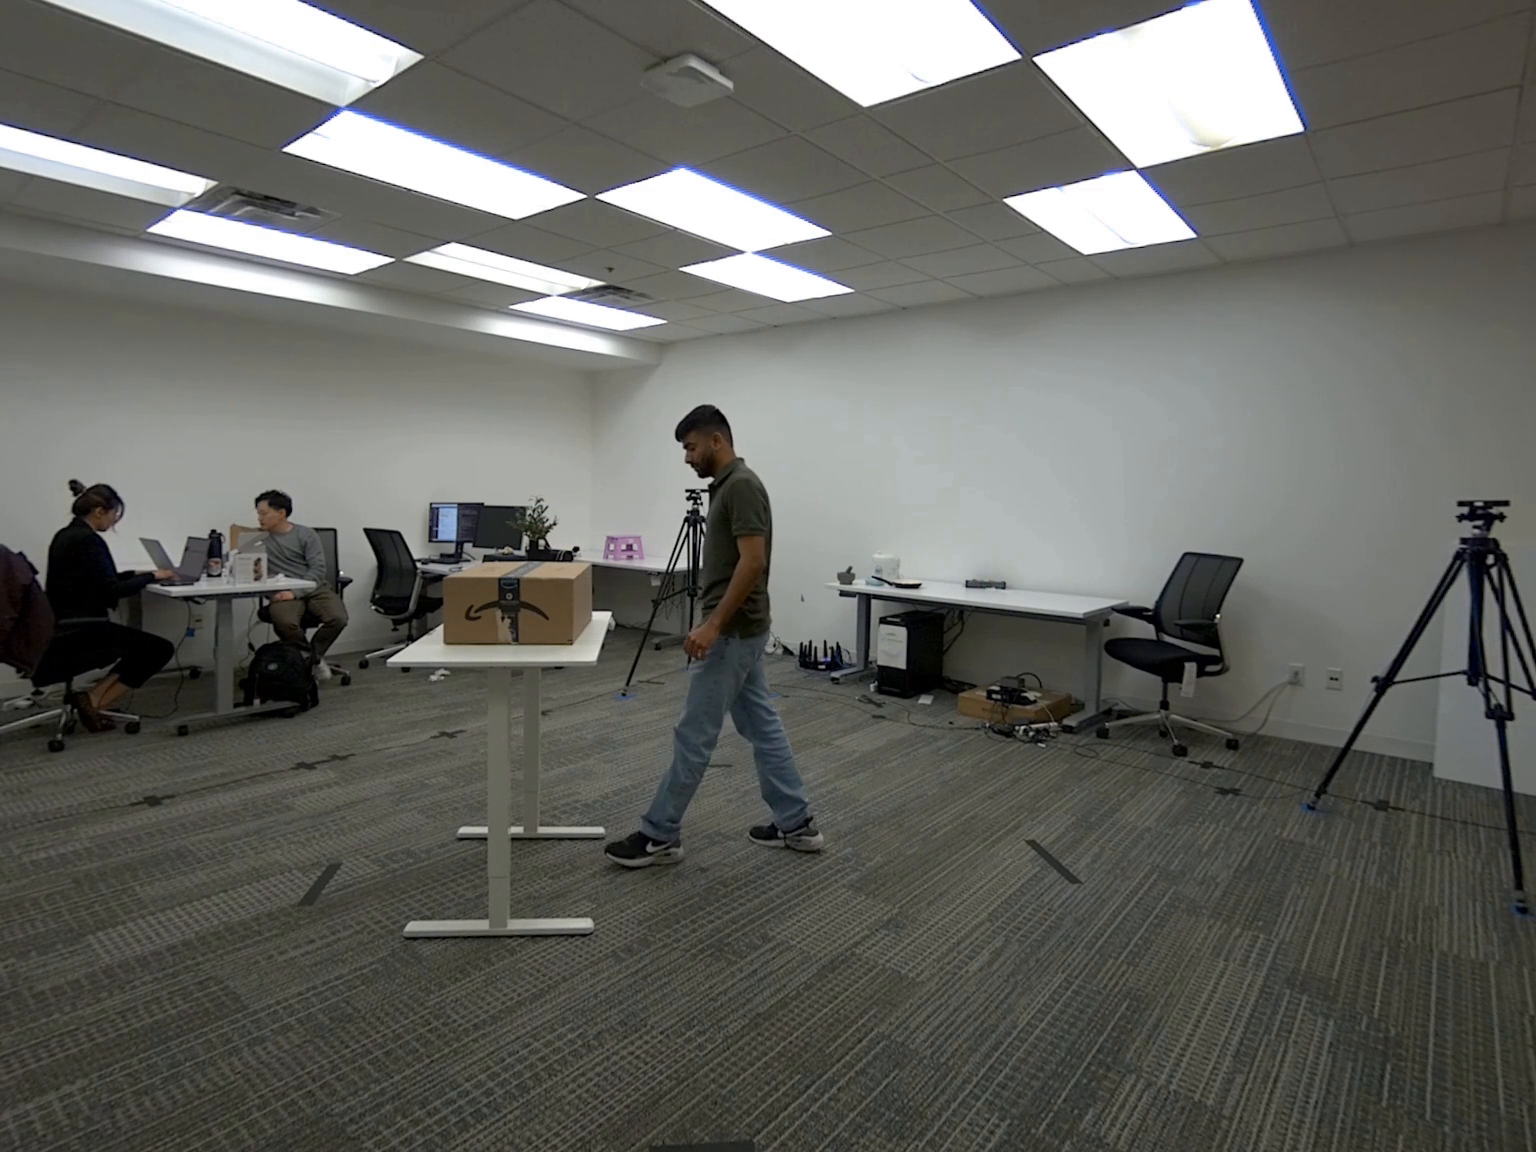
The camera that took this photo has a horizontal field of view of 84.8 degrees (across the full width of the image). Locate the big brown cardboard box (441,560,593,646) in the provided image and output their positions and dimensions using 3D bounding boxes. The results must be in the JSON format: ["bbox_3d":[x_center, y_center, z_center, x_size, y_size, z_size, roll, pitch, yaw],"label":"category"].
[{"bbox_3d":[-0.866,0.083,3.011,0.417,0.232,0.592,0,5,-3],"label":"big brown cardboard box"}]
